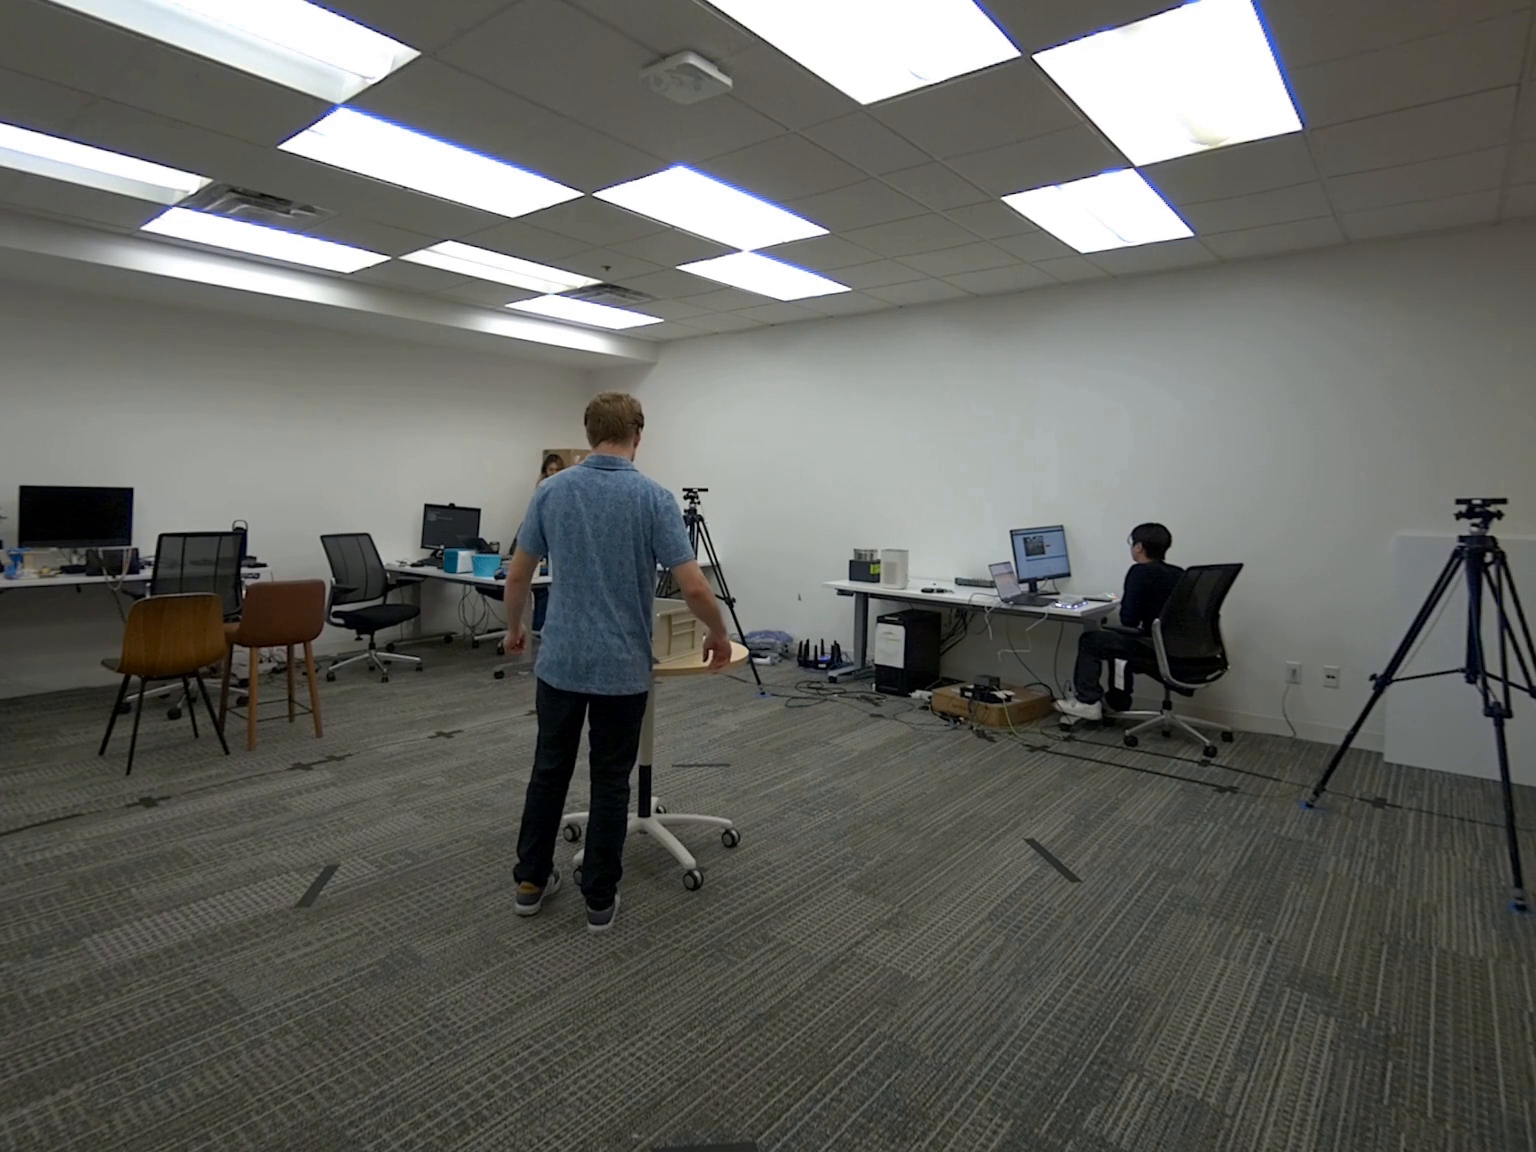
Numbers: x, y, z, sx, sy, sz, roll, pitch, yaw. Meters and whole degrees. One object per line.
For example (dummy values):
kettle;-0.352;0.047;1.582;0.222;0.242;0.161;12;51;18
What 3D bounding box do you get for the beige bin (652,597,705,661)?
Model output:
beige bin;-0.501;0.192;3.140;0.434;0.188;0.368;4;4;27
